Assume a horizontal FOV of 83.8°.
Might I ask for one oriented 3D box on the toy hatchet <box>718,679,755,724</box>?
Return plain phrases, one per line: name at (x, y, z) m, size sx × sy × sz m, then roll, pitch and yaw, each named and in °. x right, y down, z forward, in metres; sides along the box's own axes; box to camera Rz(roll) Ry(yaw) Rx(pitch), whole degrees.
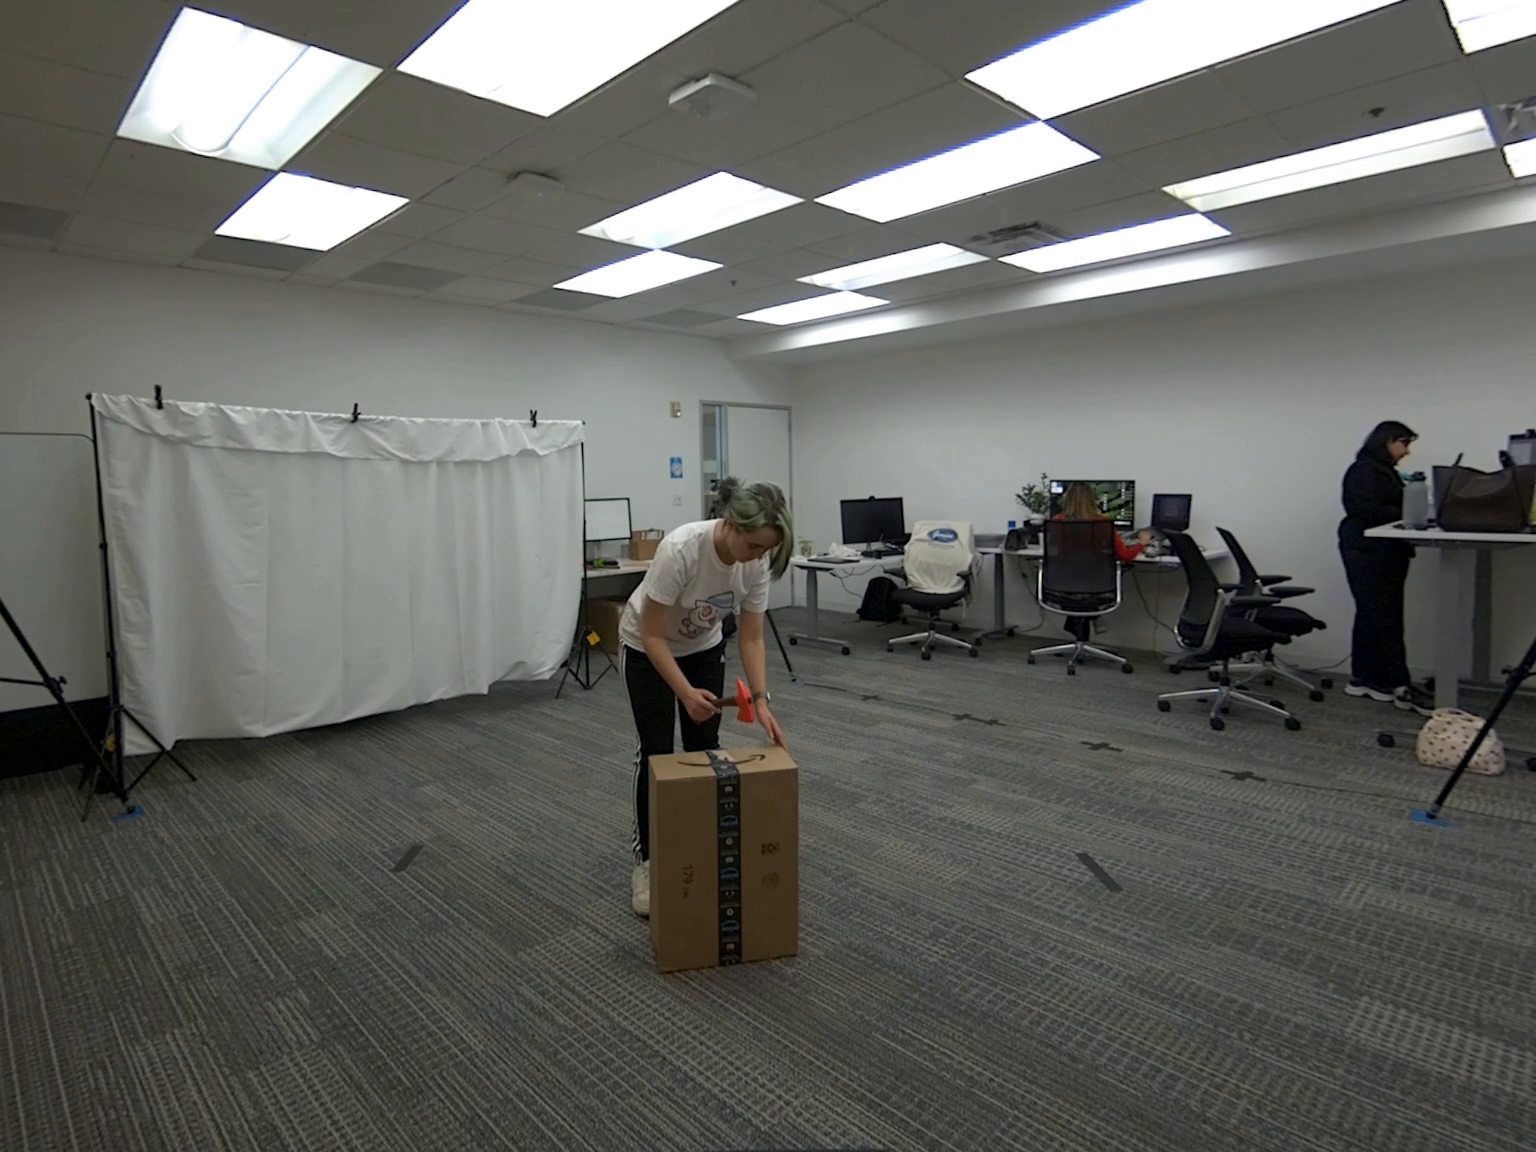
toy hatchet at (-0.119, 0.422, 2.569) m, size 0.029 × 0.133 × 0.270 m, roll -21°, pitch -18°, yaw -44°
